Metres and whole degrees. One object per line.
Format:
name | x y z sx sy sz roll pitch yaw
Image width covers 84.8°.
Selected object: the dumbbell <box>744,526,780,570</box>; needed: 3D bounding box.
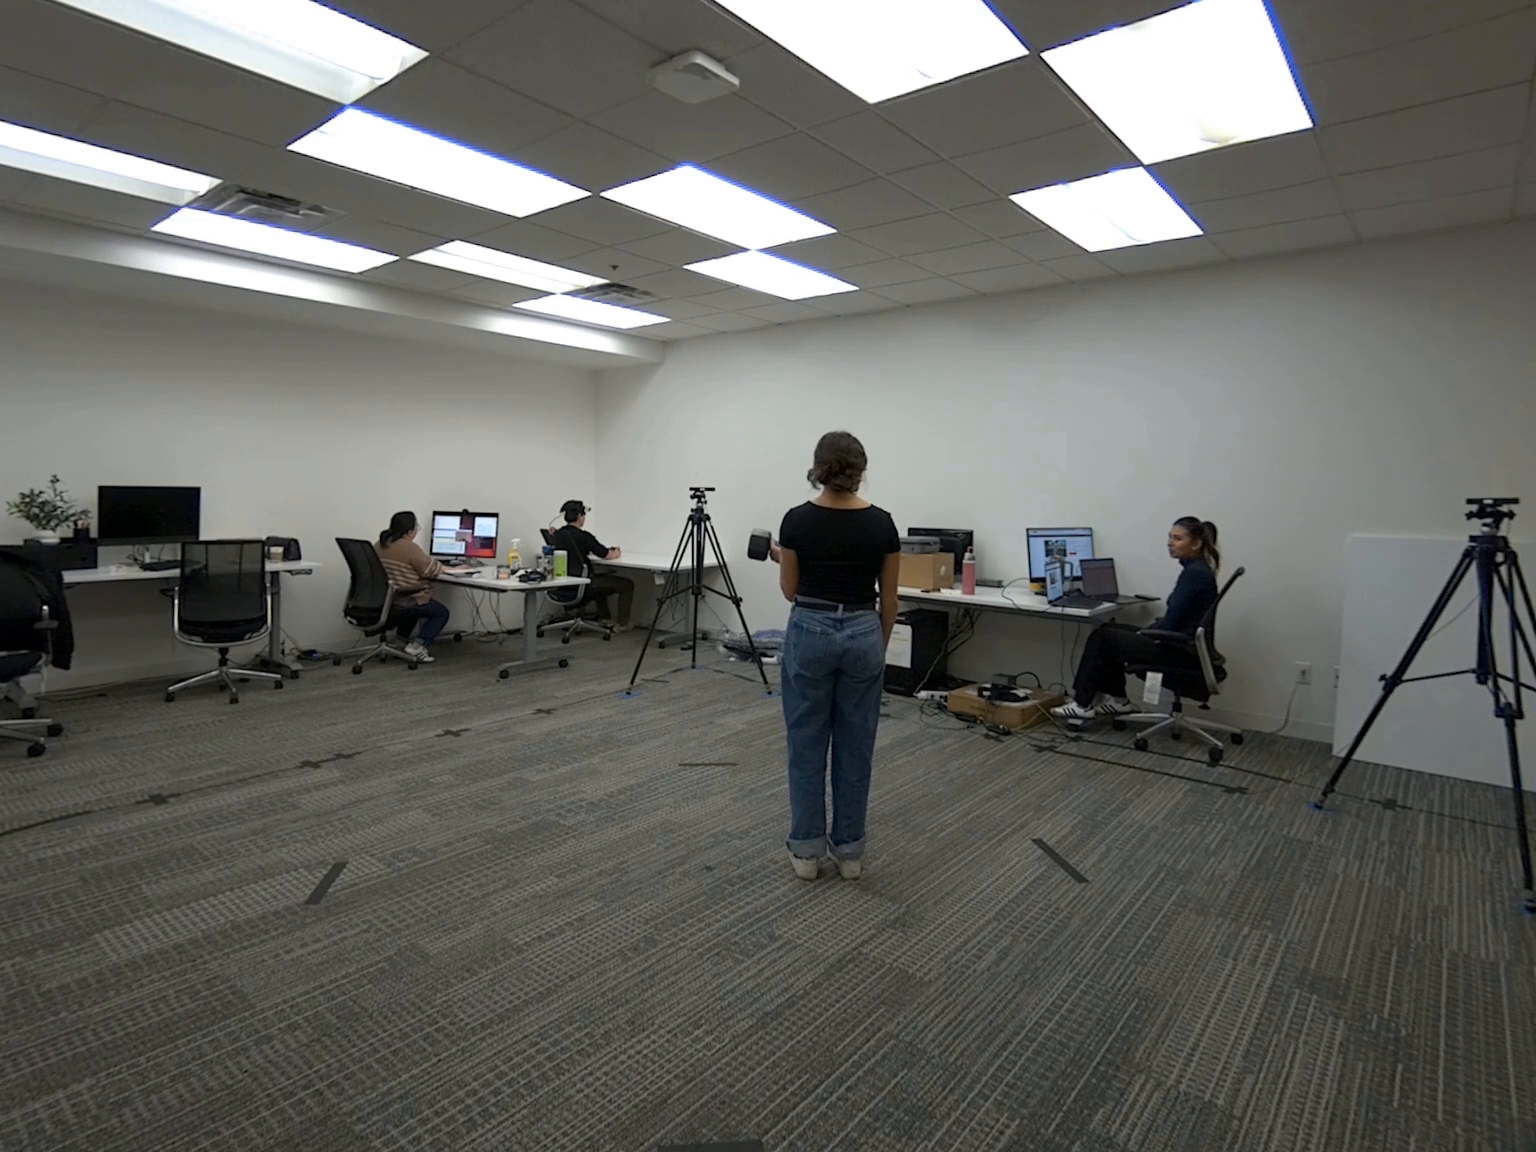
dumbbell | 0.063 -0.100 3.334 0.296 0.107 0.124 12 23 6
